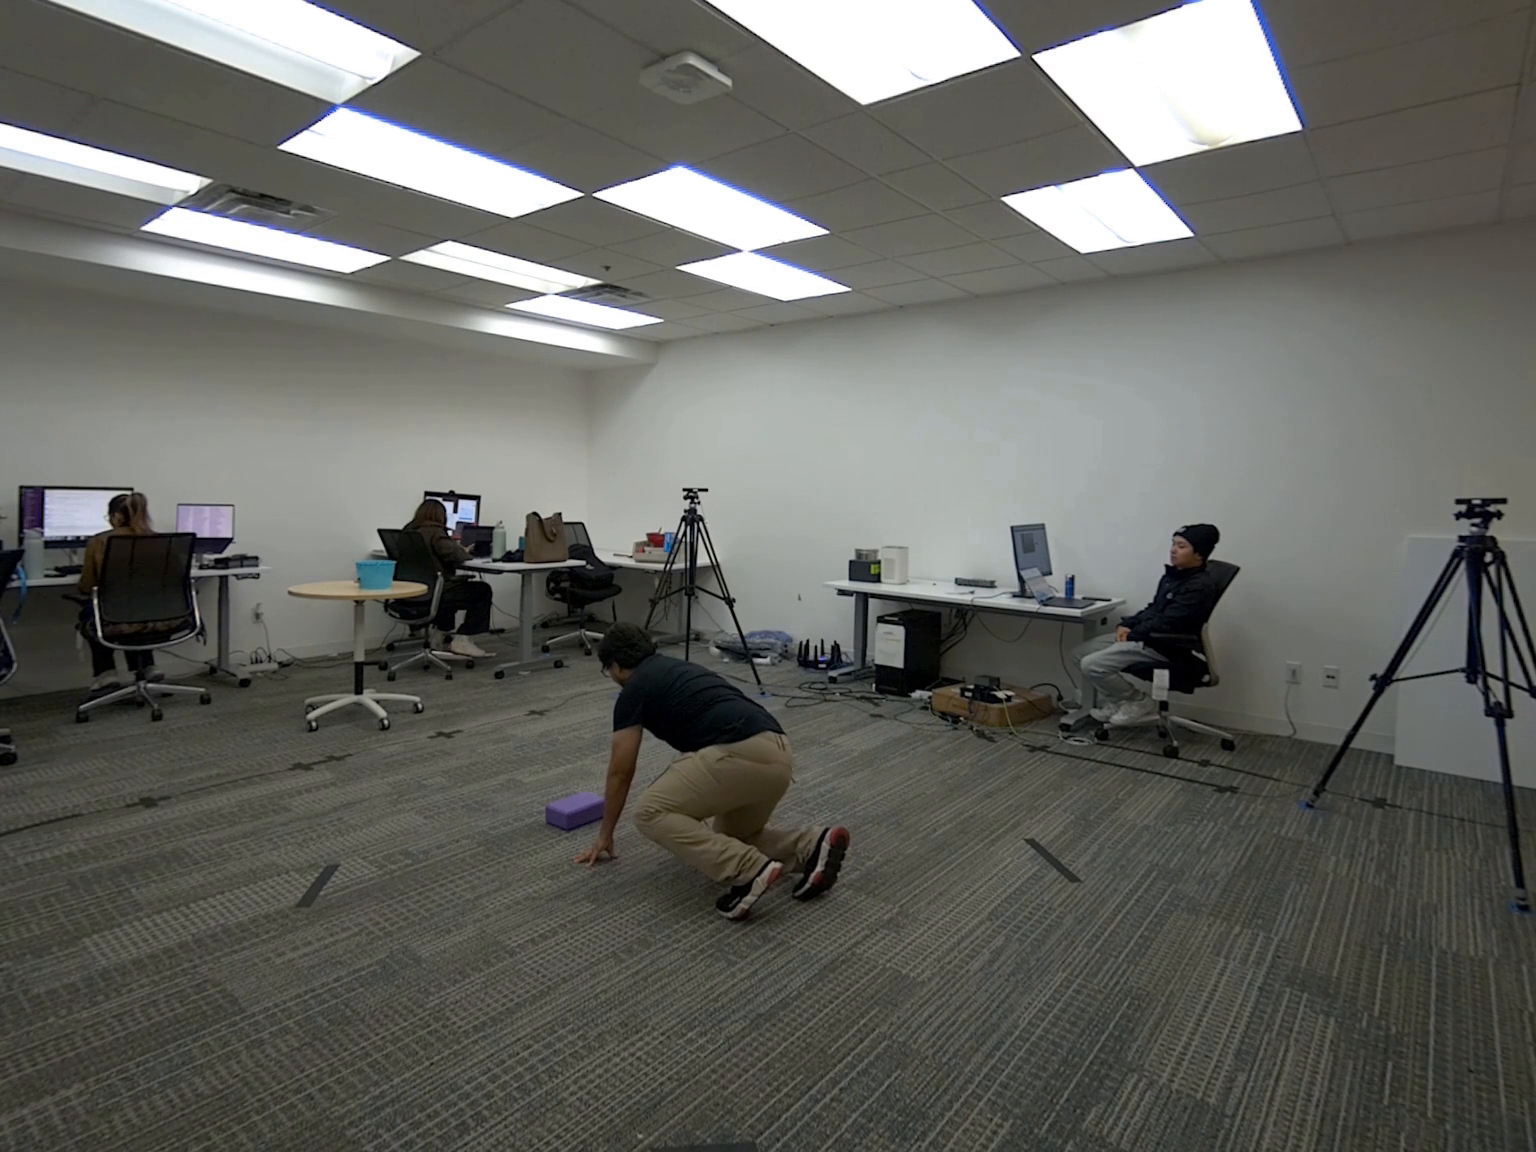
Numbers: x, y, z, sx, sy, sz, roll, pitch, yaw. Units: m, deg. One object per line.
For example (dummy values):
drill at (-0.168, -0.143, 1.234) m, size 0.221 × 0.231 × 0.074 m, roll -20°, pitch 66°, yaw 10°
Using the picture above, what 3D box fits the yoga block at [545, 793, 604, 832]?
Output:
yoga block at (-0.816, 0.977, 3.559) m, size 0.154 × 0.076 × 0.223 m, roll 5°, pitch 6°, yaw 37°
